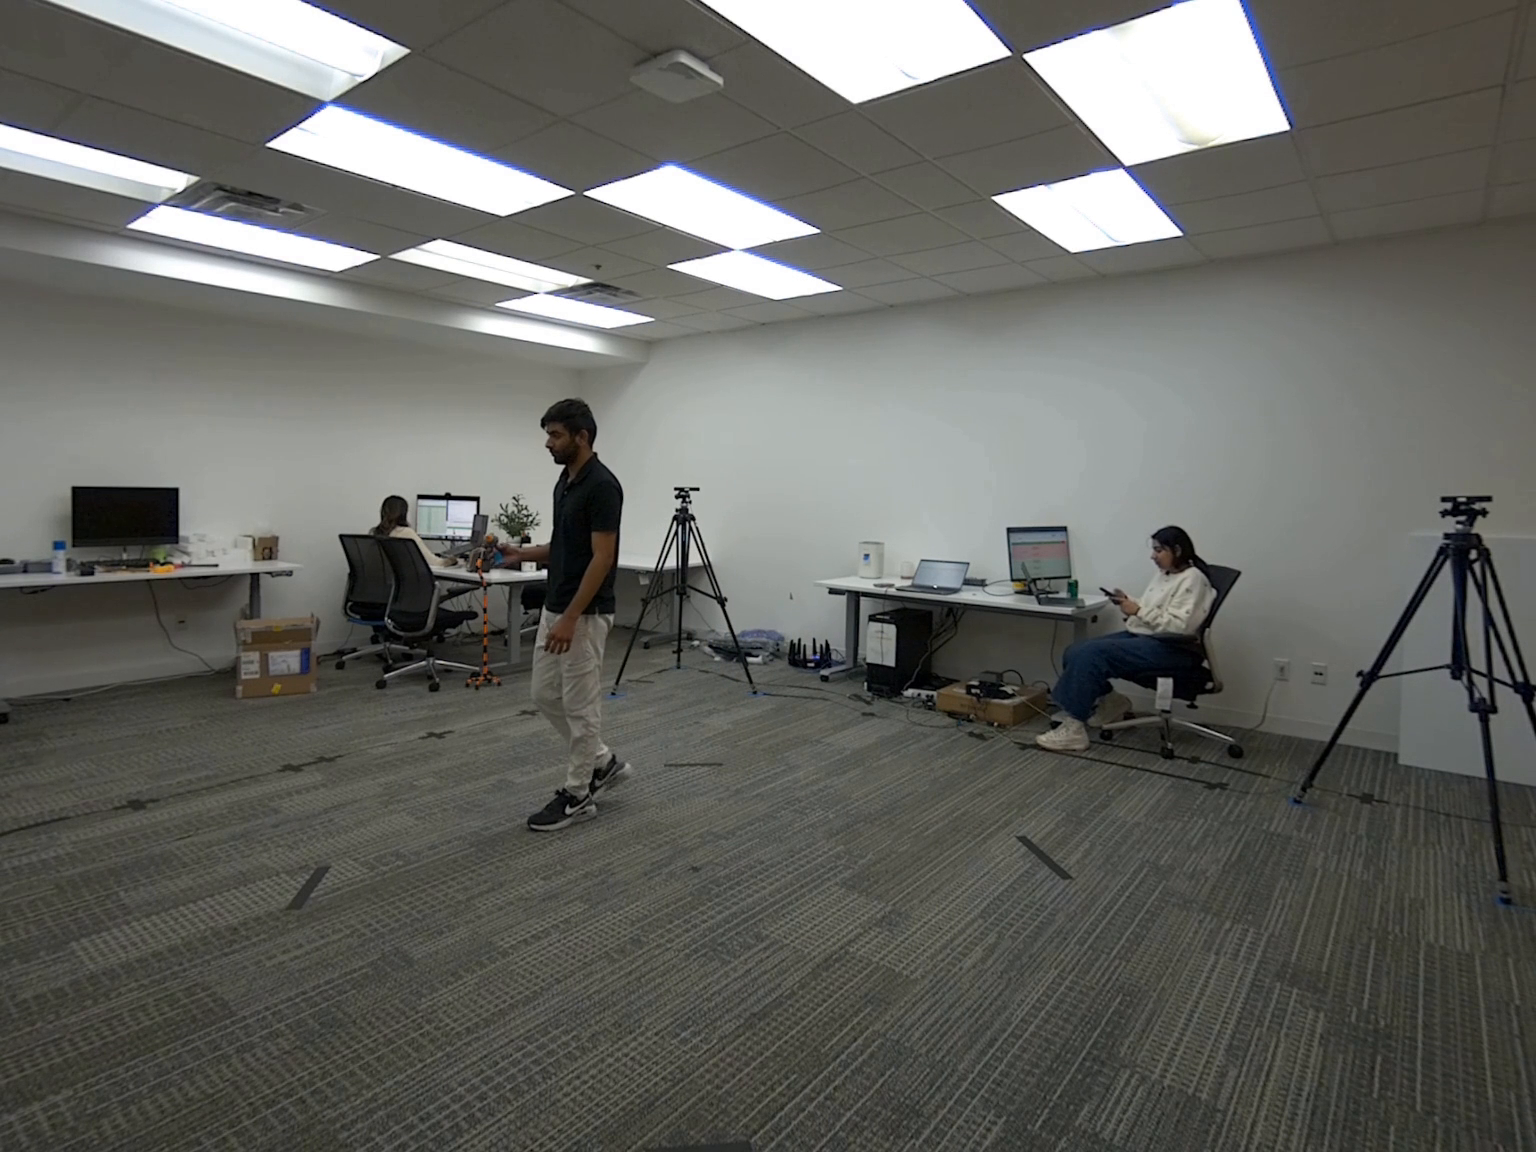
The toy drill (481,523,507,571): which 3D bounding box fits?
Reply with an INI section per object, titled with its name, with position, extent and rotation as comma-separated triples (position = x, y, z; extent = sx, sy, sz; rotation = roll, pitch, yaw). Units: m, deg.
[toy drill]
position = -1.126, -0.120, 3.491
extent = 0.060, 0.148, 0.169
rotation = -24, -7, -17
